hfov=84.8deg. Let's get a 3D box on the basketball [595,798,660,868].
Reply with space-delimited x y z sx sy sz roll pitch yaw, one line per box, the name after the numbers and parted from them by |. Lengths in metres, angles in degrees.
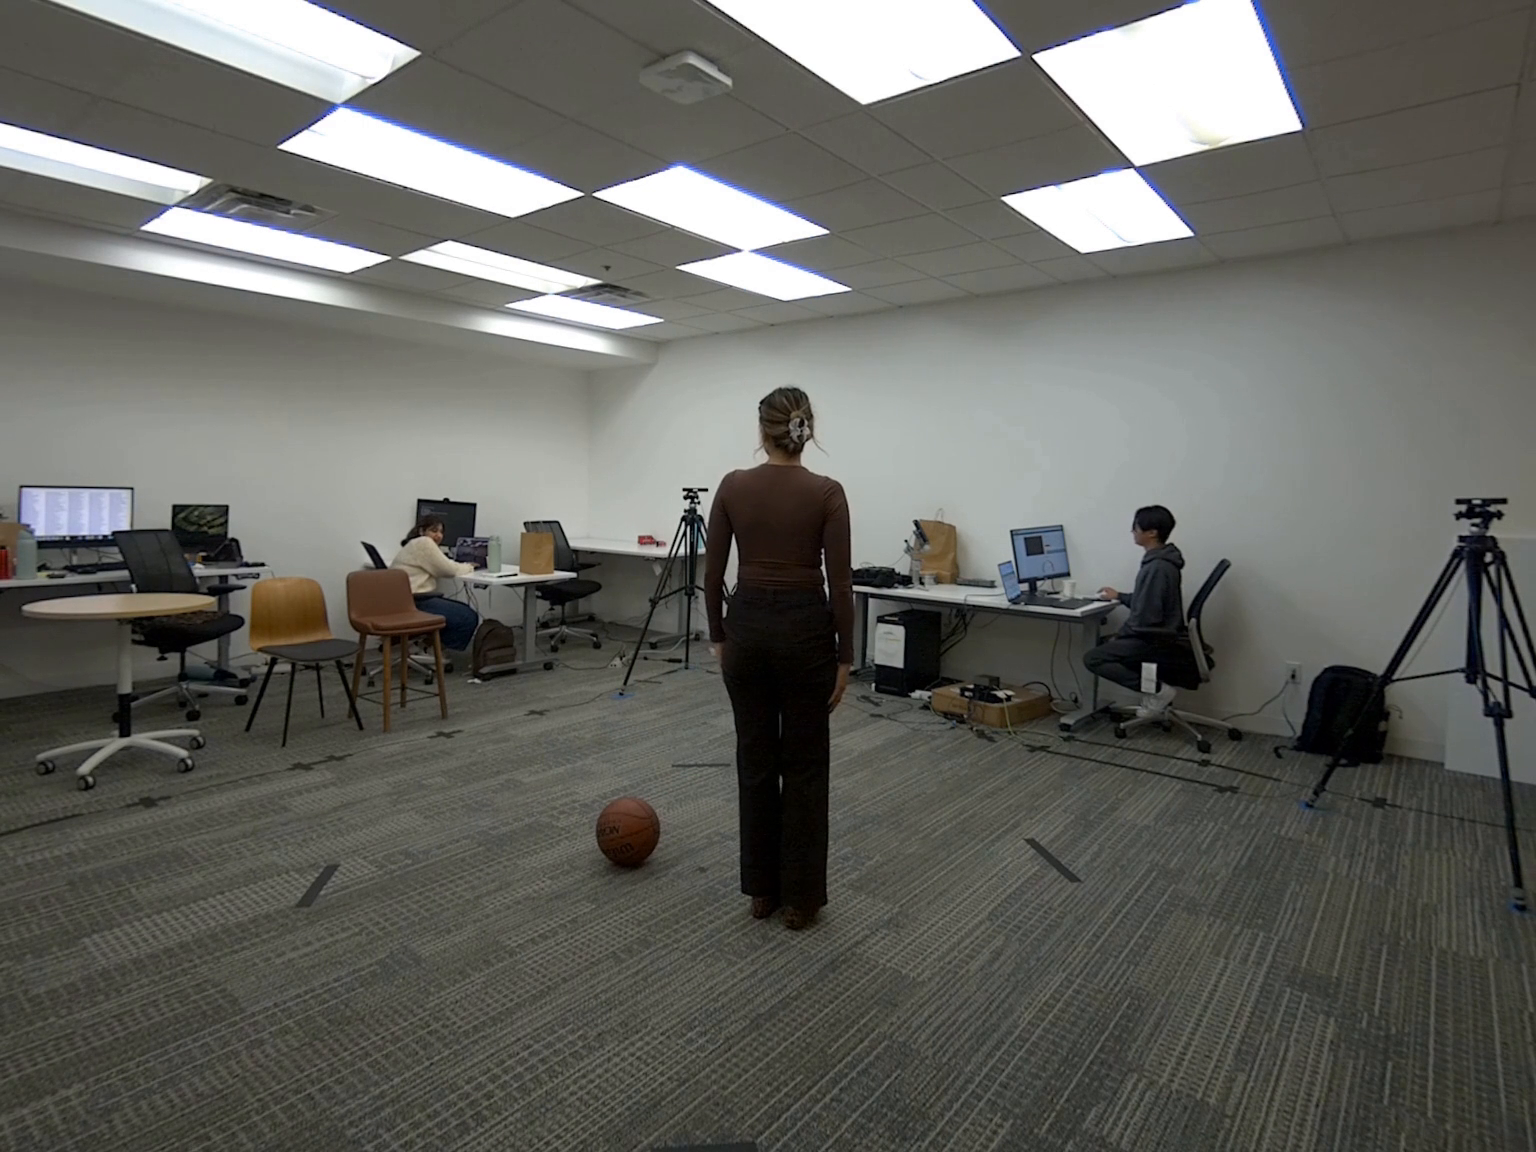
-0.531 0.936 3.152 0.236 0.235 0.237 1 4 -2 | basketball
